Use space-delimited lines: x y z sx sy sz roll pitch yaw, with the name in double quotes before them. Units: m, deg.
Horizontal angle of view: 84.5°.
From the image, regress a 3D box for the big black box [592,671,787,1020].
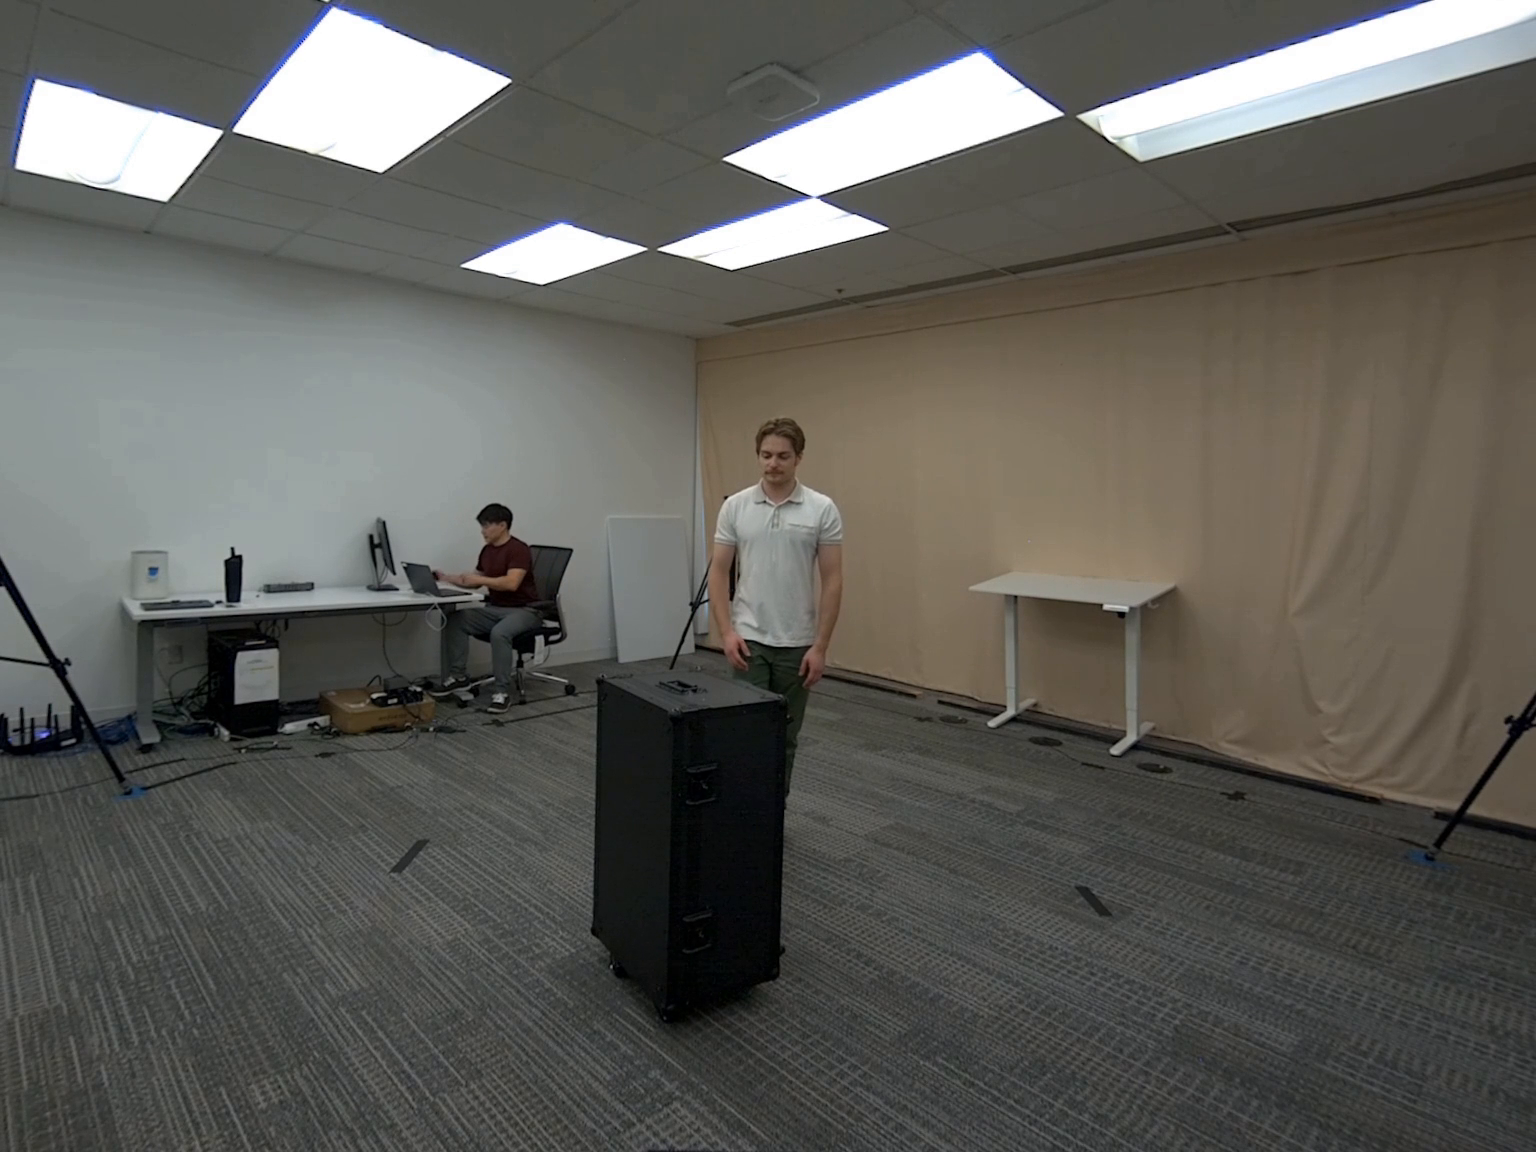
"big black box" -0.250 0.746 2.408 0.377 0.867 0.536 0 4 -33
